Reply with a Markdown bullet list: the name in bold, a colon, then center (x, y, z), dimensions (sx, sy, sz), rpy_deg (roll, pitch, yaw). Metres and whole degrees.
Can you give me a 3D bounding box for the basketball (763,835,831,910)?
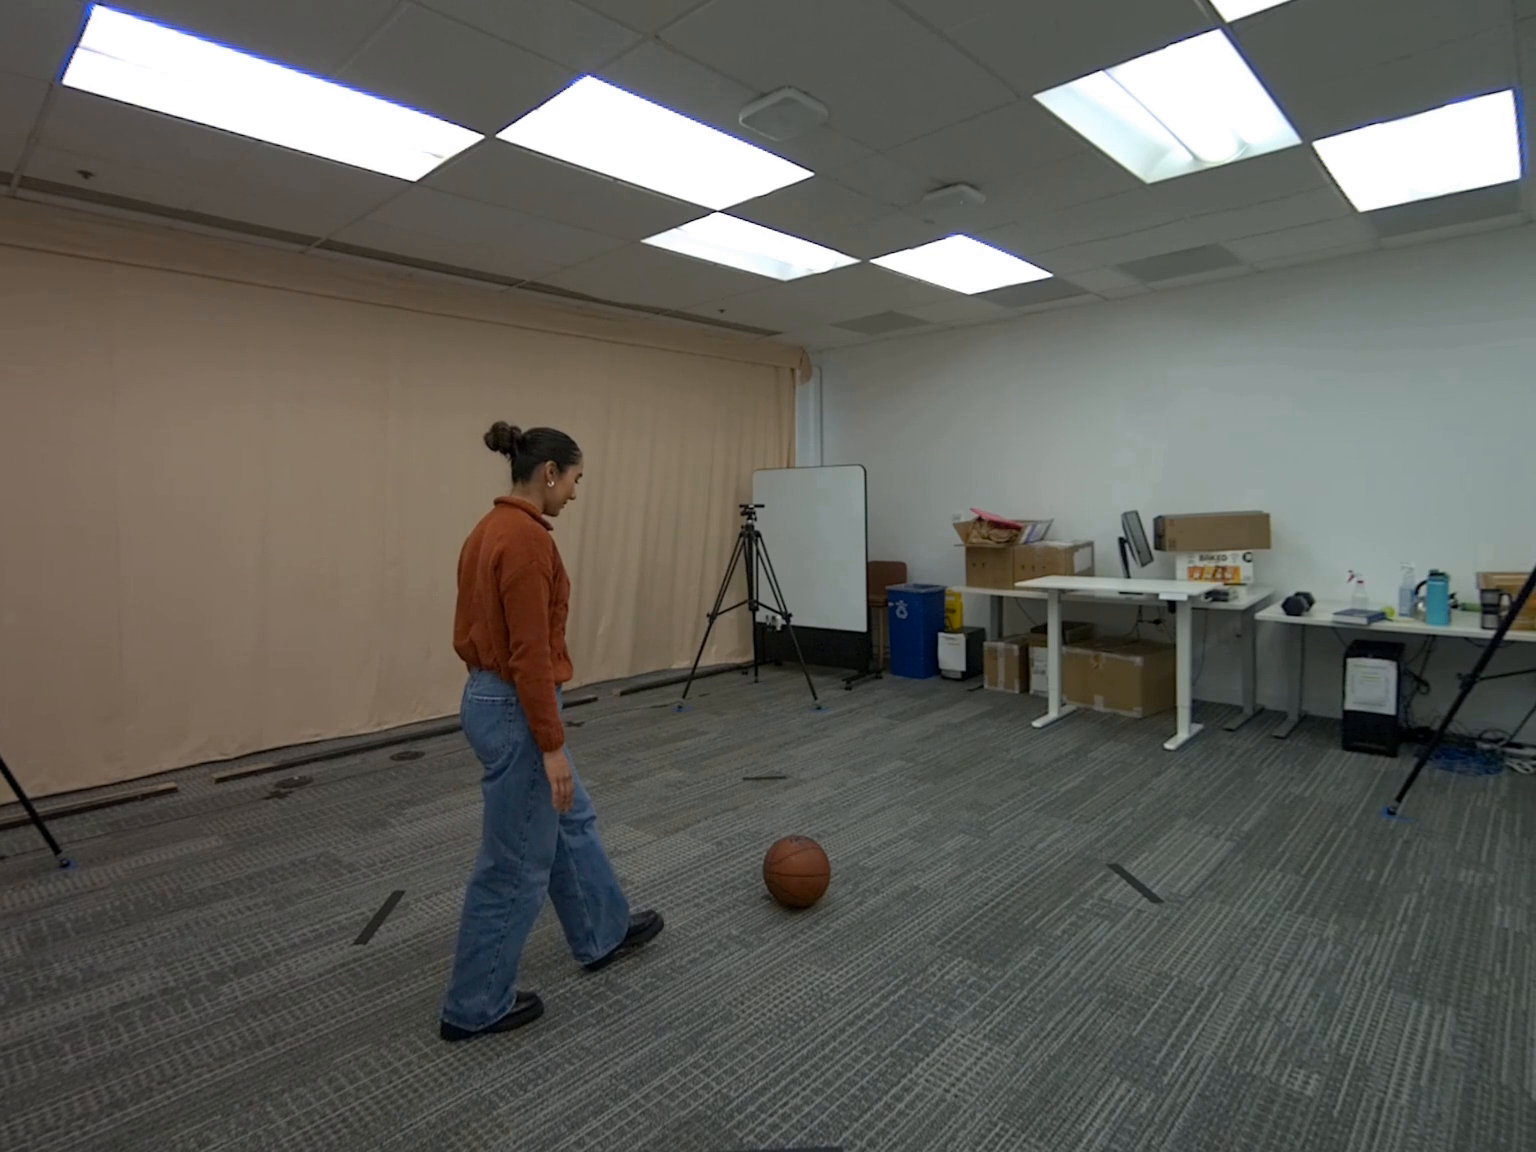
- **basketball**: center (0.099, 1.025, 2.924), dimensions (0.236, 0.235, 0.237), rpy_deg (-1, 4, -2)
